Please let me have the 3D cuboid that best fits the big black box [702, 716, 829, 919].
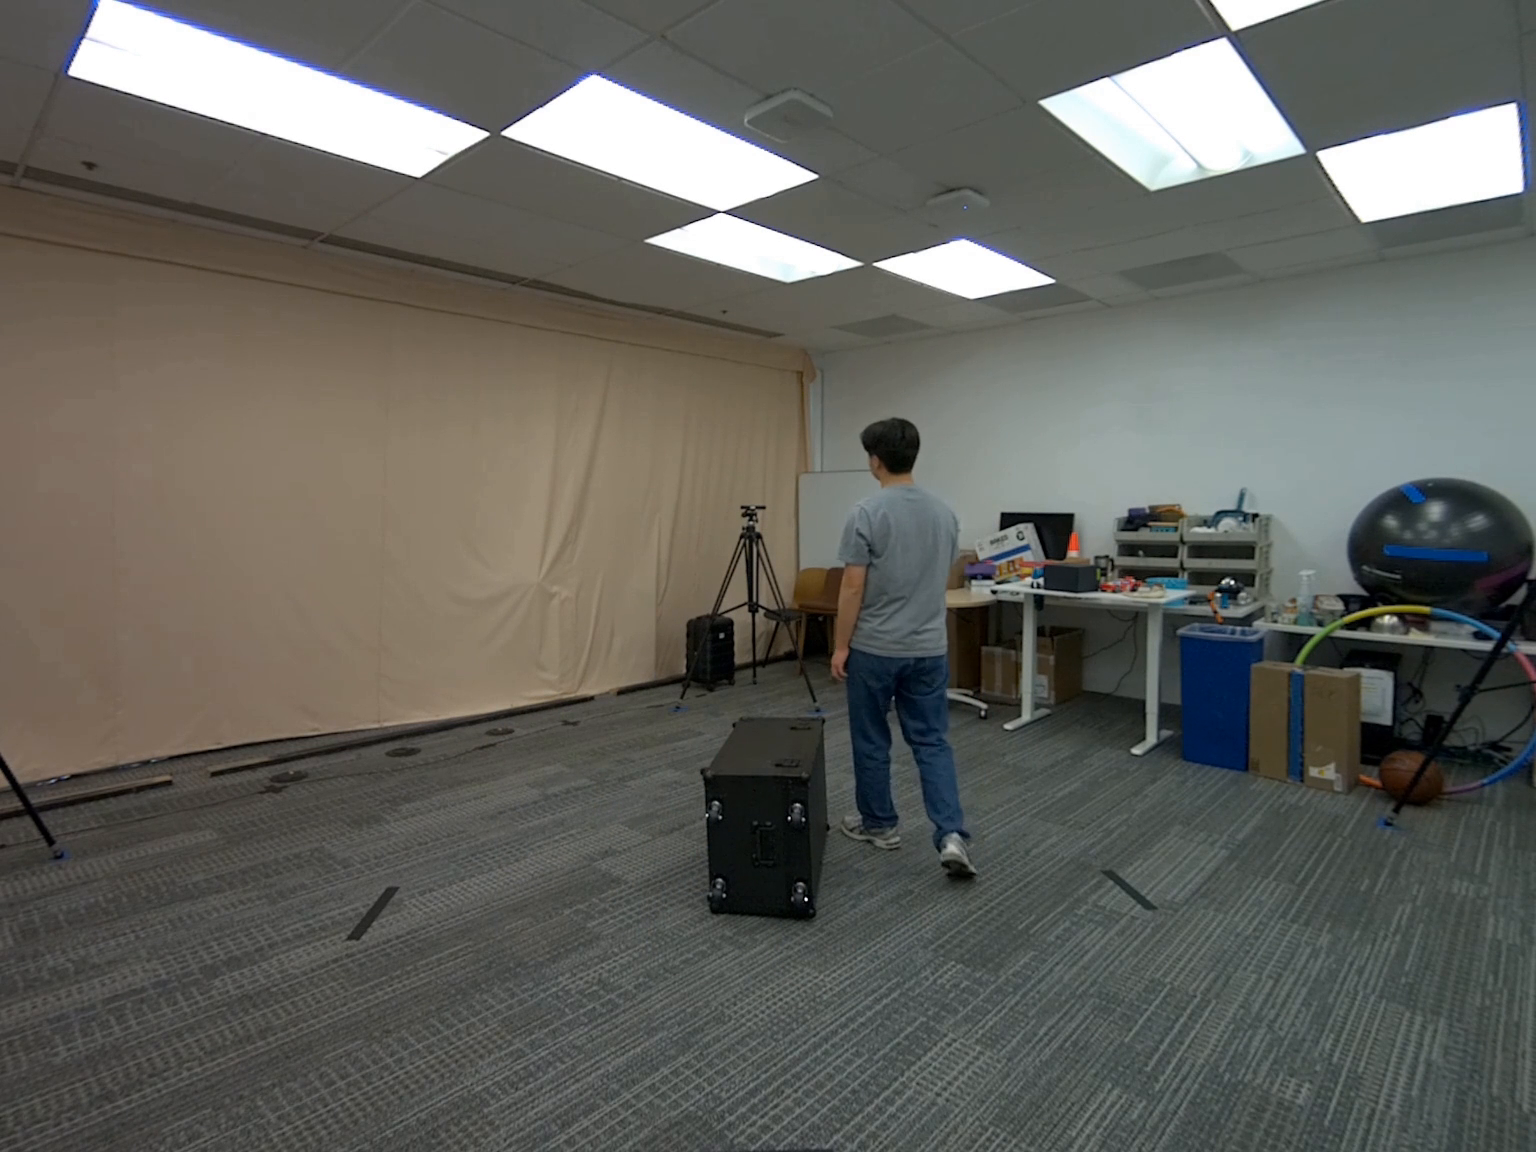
[{"bbox_3d":[0.011,0.873,3.238,0.400,0.520,0.854,-1,3,9],"label":"big black box"}]
